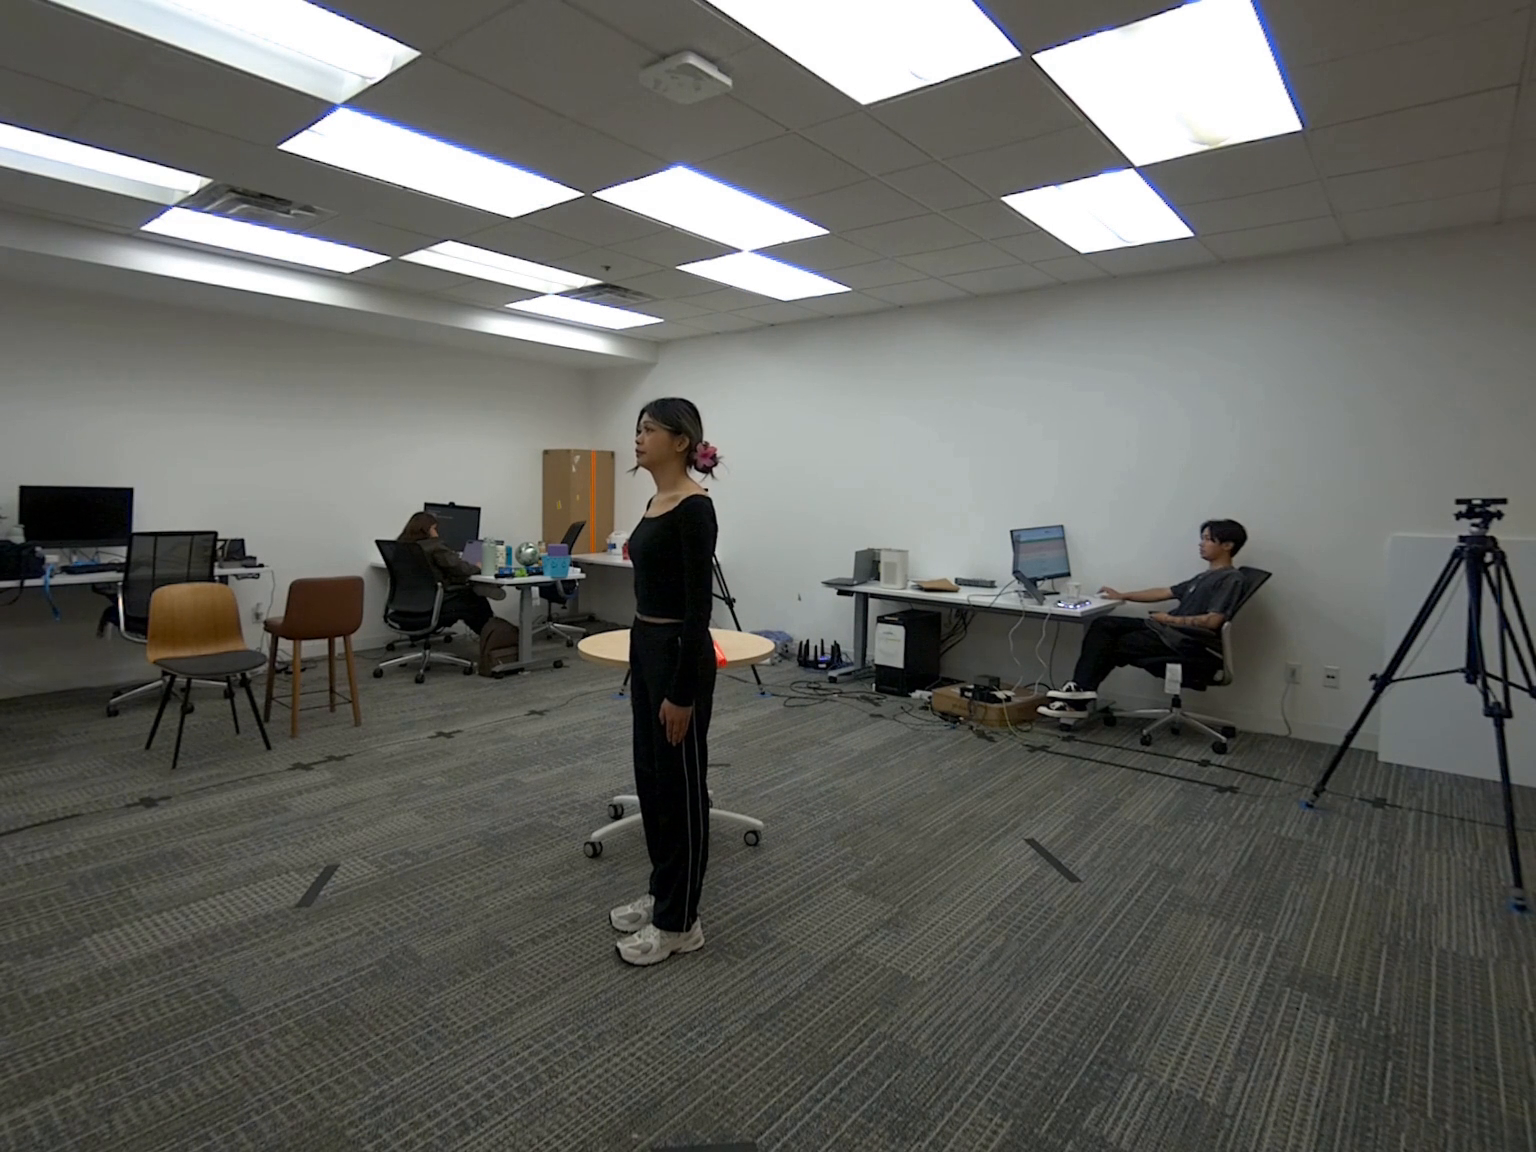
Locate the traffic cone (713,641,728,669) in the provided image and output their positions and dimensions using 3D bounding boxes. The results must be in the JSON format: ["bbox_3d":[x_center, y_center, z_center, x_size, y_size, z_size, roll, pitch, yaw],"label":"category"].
[{"bbox_3d":[-0.242,0.236,3.064,0.200,0.200,0.397,-4,18,-25],"label":"traffic cone"}]
